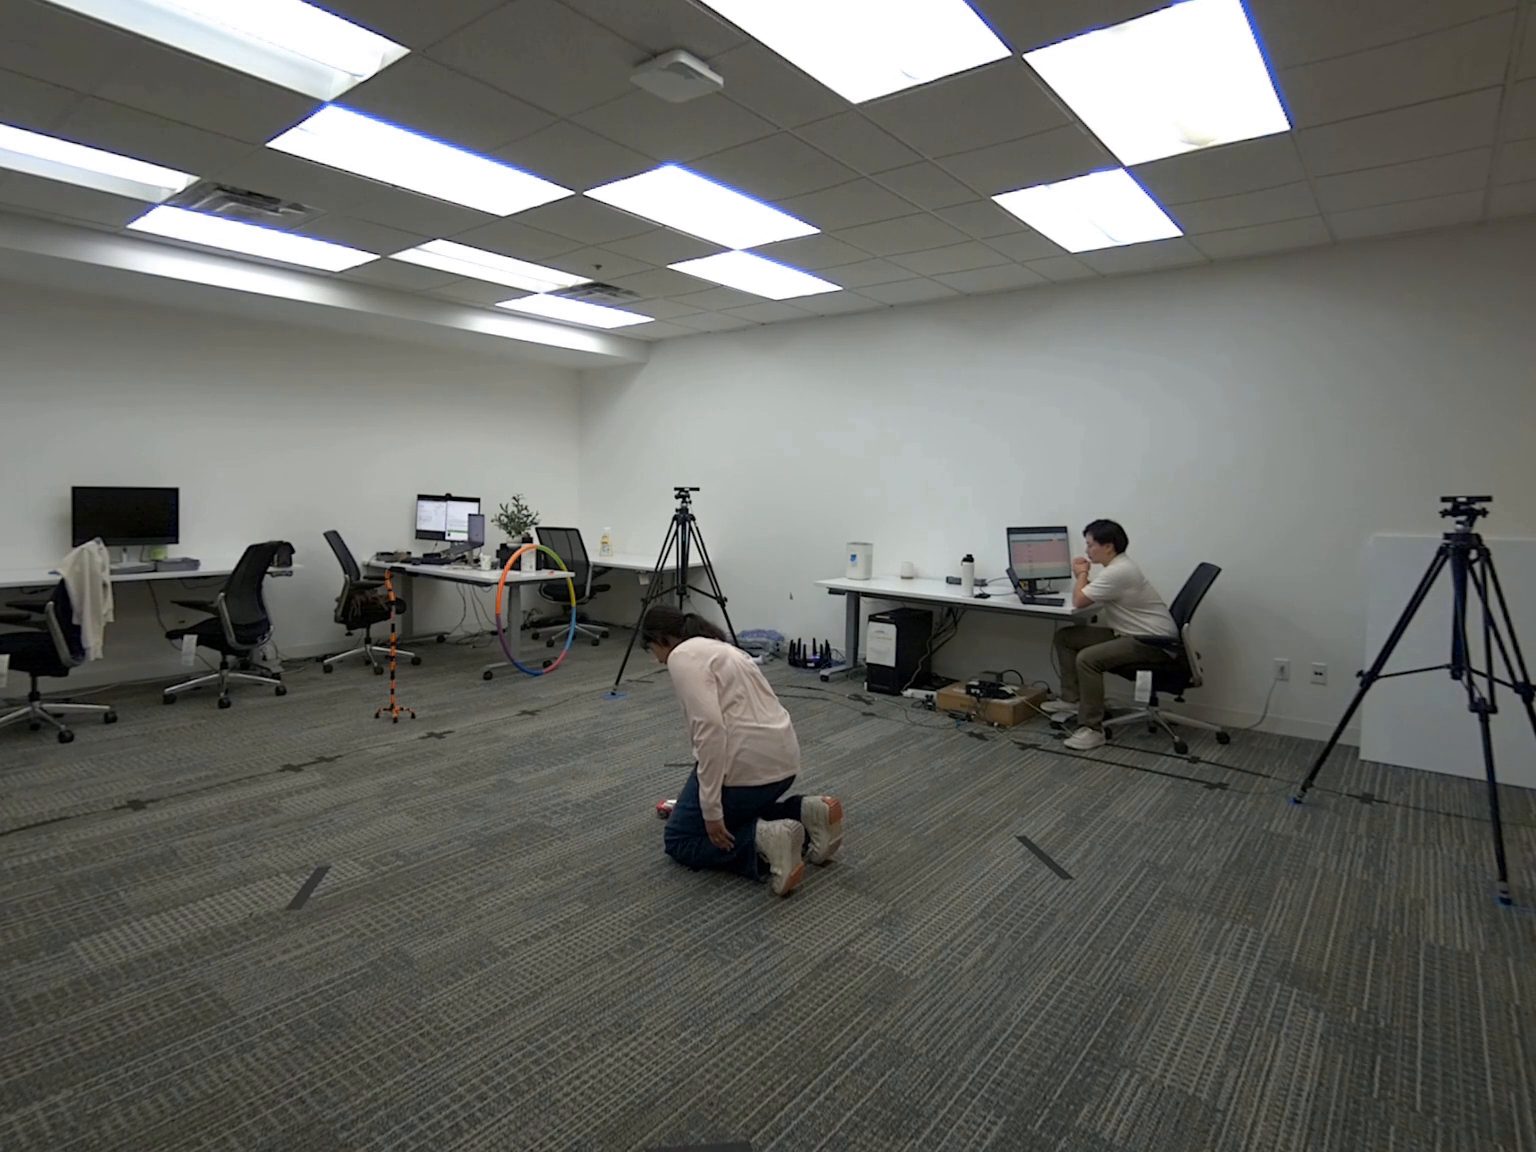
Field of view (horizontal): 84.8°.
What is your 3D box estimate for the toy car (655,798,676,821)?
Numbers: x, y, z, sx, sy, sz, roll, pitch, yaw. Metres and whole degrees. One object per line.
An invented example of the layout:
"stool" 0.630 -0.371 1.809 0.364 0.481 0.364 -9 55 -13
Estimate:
"toy car" -0.354 0.984 3.599 0.258 0.083 0.128 -8 2 15
